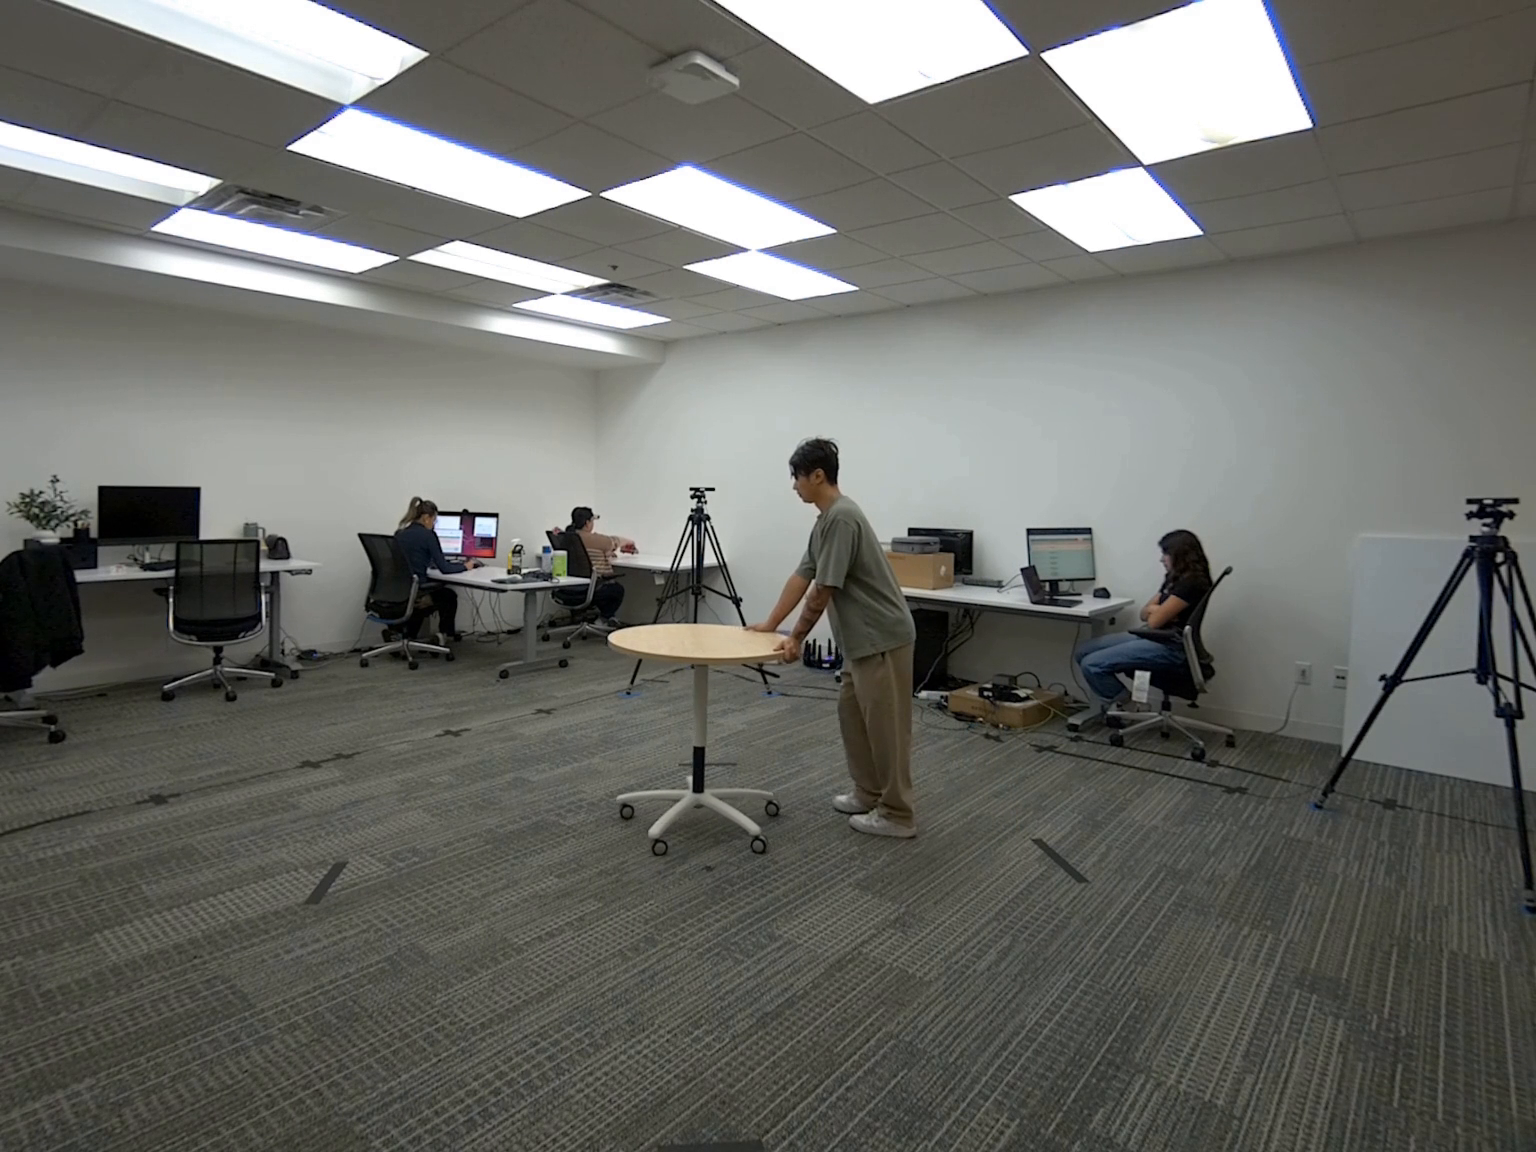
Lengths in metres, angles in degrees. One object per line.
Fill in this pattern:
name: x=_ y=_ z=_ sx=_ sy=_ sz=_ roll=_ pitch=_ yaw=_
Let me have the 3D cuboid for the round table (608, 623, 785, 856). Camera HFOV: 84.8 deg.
round table: x=-0.300 y=0.639 z=3.509 sx=0.784 sy=0.784 sz=0.789 roll=2 pitch=4 yaw=-2
